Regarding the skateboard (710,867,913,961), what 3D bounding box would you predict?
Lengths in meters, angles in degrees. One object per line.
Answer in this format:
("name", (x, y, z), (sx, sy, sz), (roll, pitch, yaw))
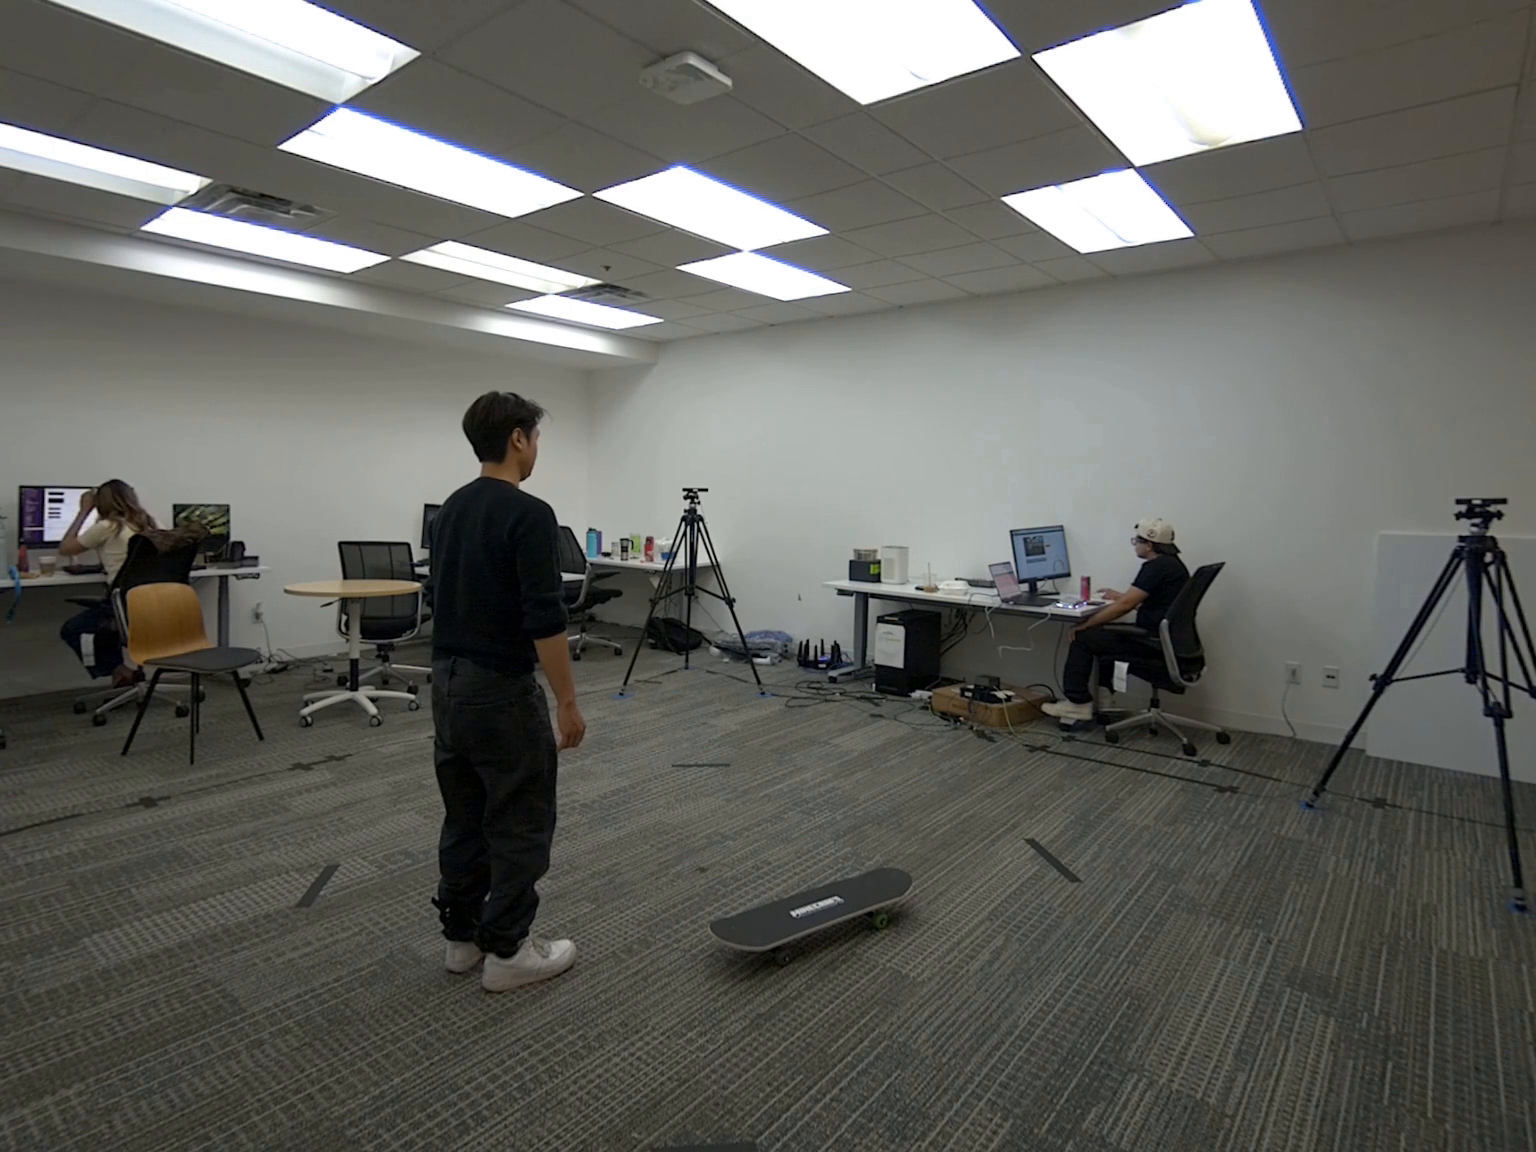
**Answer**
("skateboard", (0.153, 1.065, 2.662), (0.762, 0.110, 0.200), (-3, 7, -36))
